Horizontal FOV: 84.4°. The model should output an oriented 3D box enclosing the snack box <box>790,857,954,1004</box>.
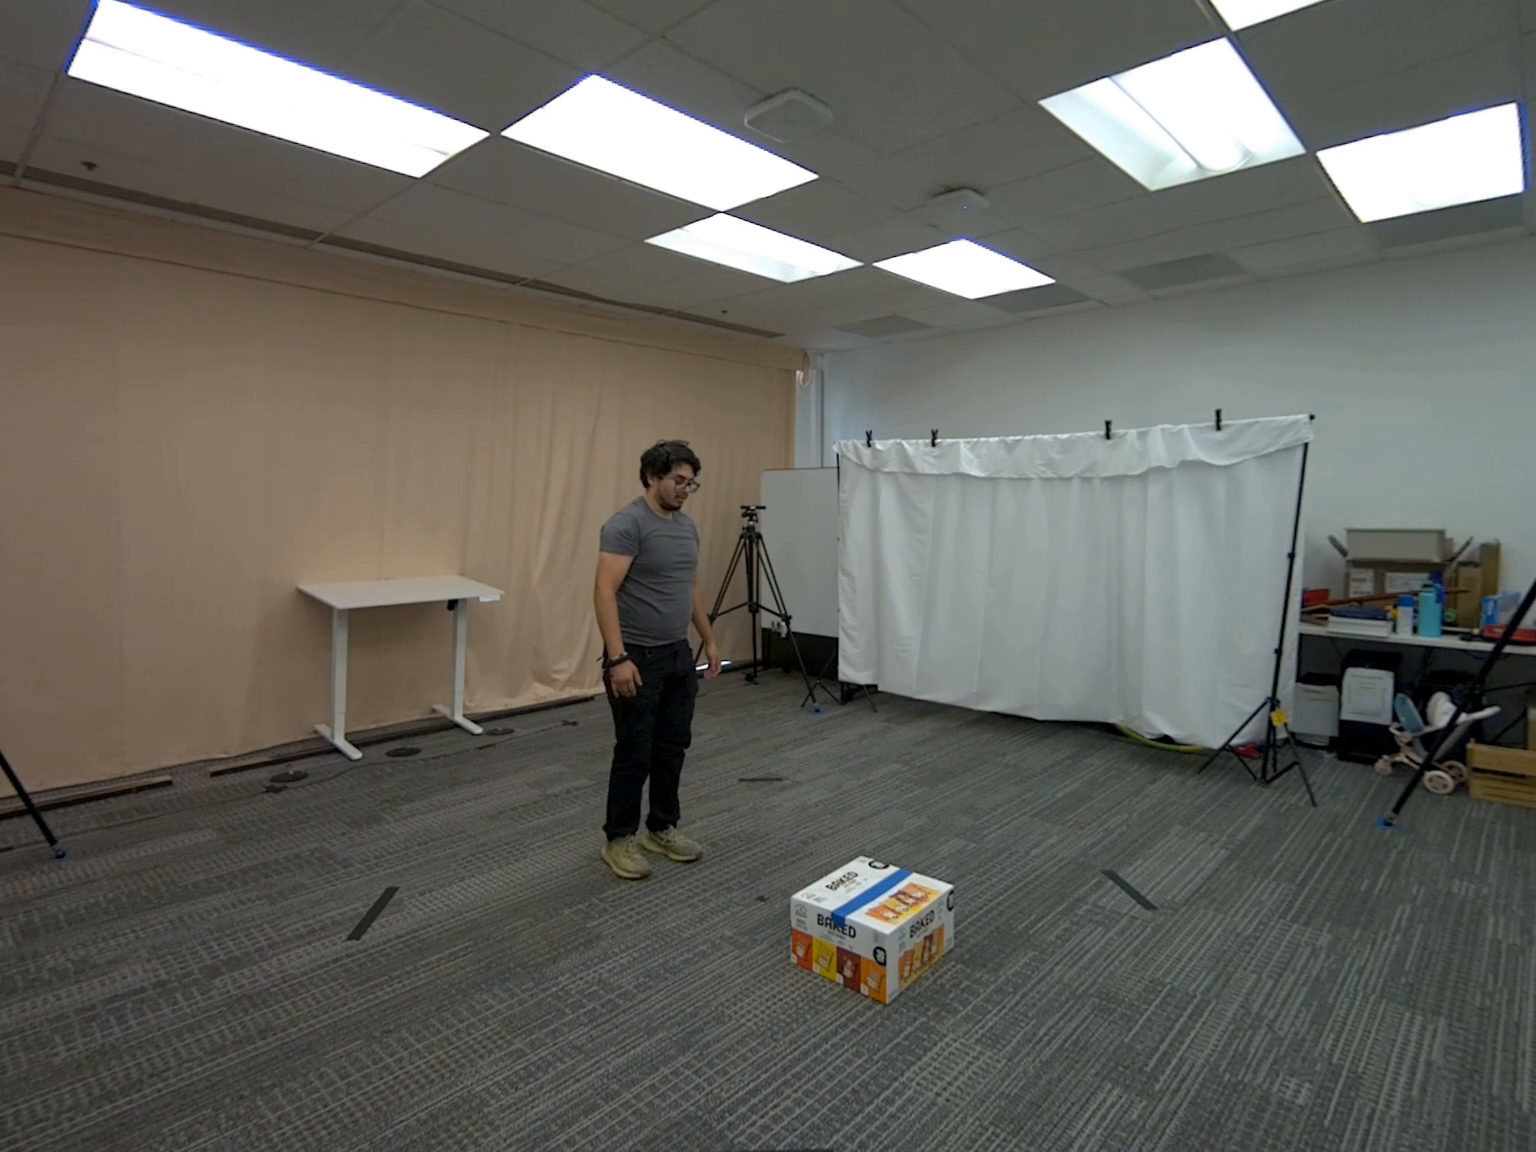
[{"bbox_3d":[0.332,1.074,2.596,0.351,0.205,0.393,4,6,40],"label":"snack box"}]
